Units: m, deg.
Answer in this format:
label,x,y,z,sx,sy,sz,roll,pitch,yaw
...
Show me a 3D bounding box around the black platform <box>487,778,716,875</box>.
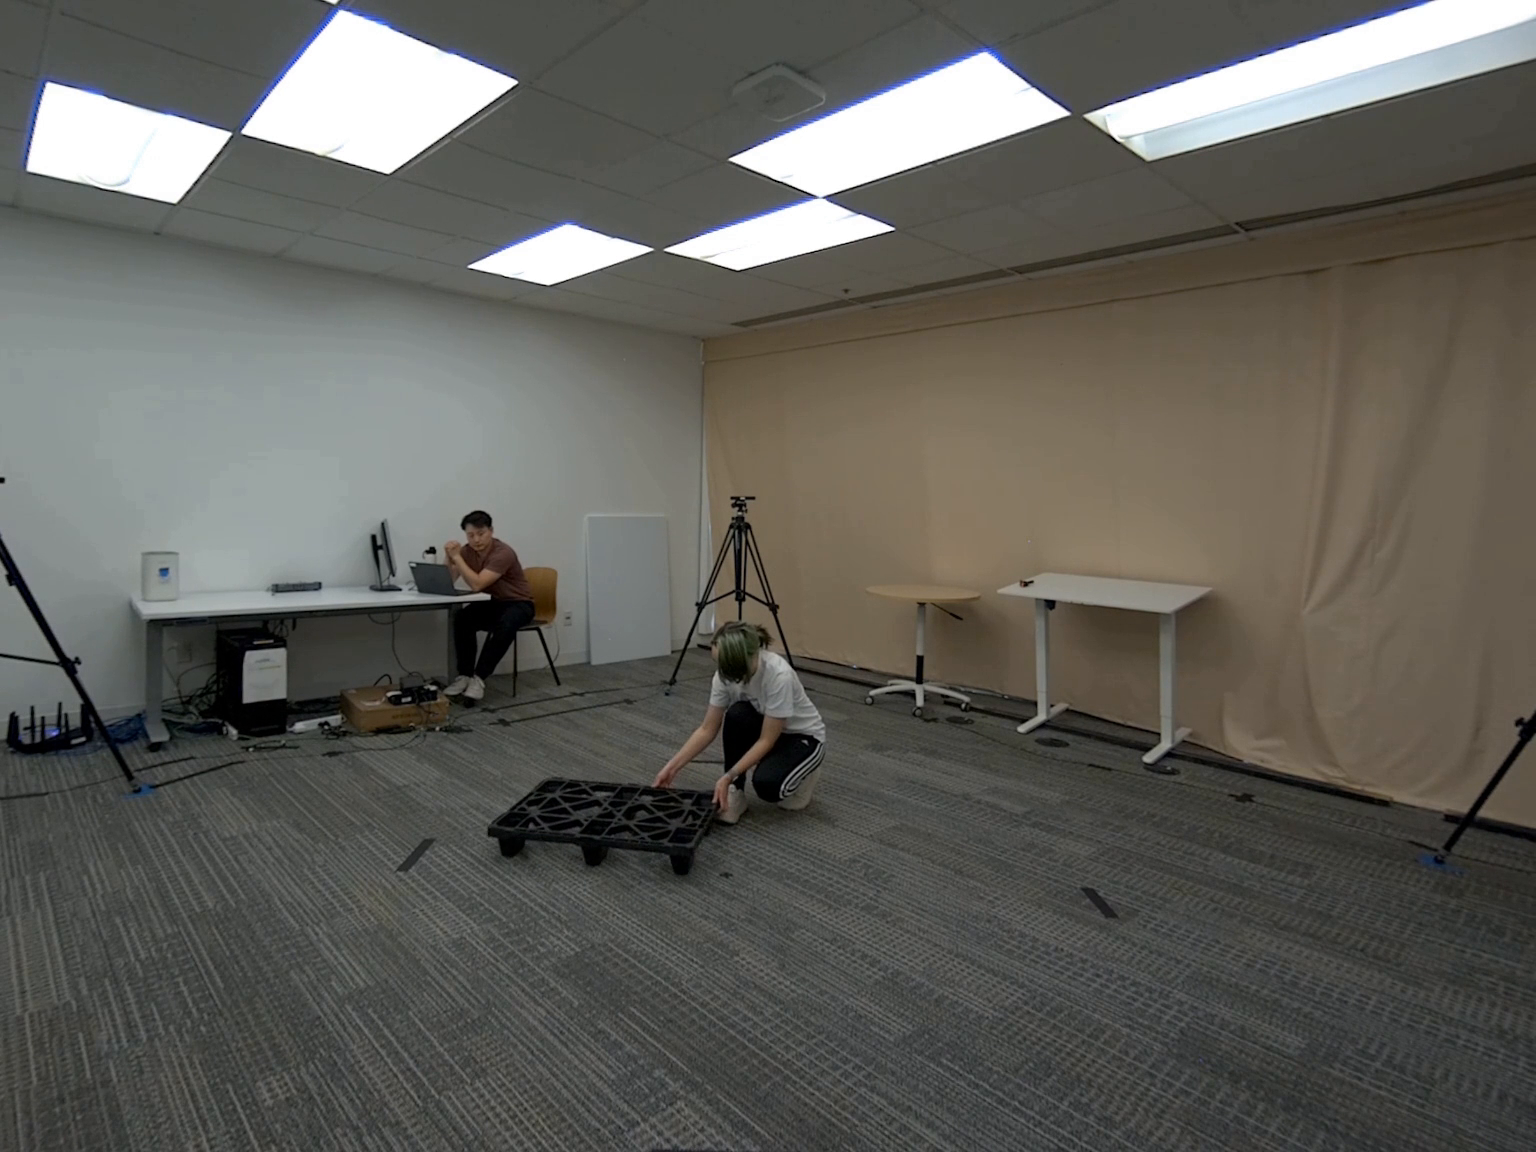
label,x,y,z,sx,sy,sz,roll,pitch,yaw
black platform,-0.633,1.001,3.381,0.812,0.143,0.602,2,6,9
